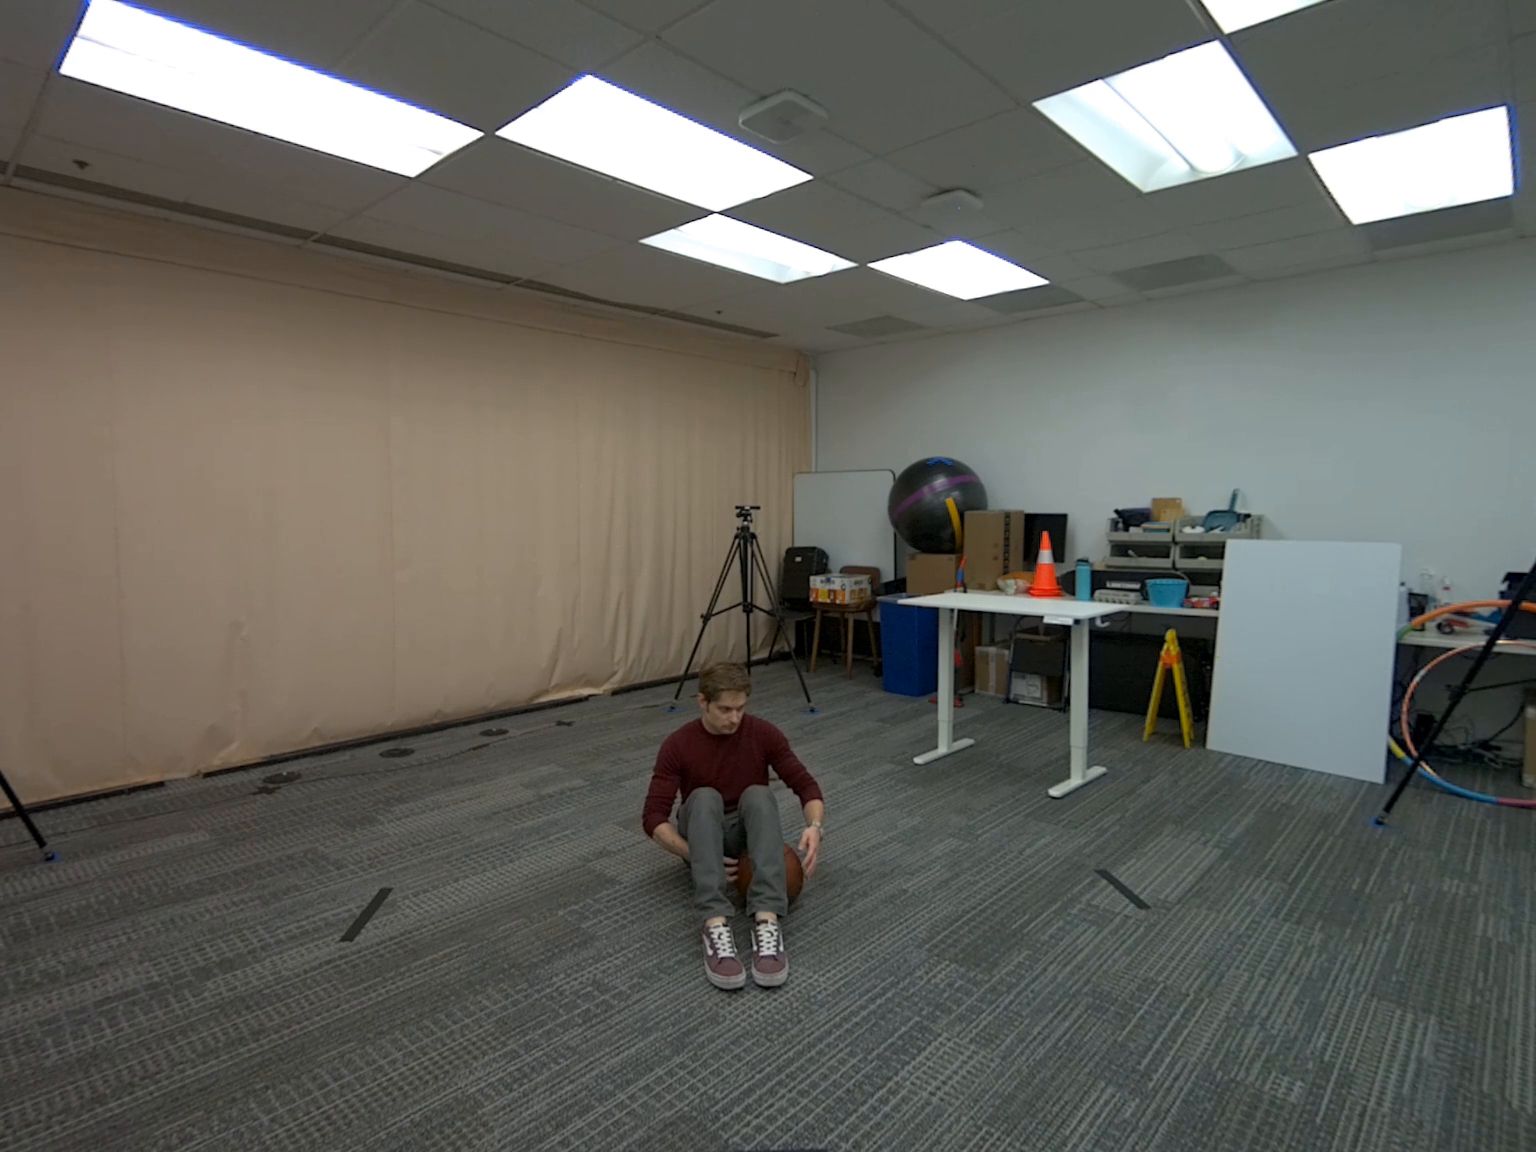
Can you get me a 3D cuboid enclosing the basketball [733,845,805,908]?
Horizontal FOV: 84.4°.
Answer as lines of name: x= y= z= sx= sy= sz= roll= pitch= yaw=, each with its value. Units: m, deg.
basketball: x=0.024 y=1.023 z=2.906 sx=0.236 sy=0.235 sz=0.237 roll=0 pitch=4 yaw=-2
